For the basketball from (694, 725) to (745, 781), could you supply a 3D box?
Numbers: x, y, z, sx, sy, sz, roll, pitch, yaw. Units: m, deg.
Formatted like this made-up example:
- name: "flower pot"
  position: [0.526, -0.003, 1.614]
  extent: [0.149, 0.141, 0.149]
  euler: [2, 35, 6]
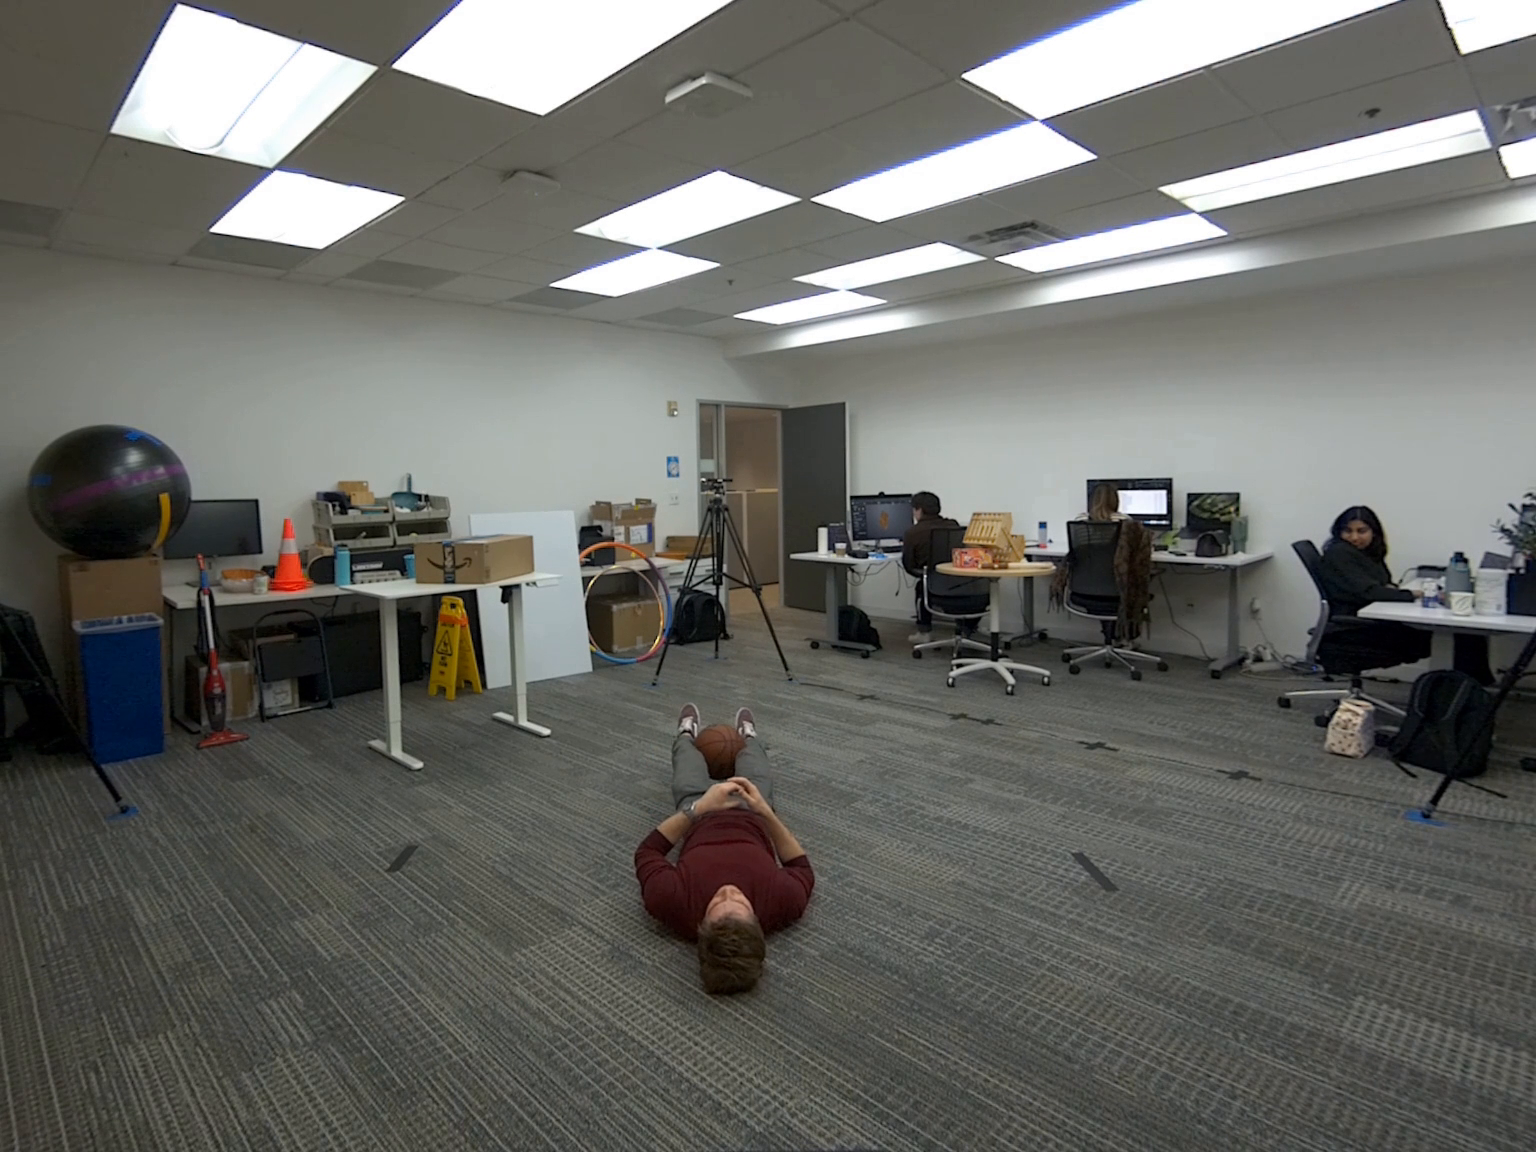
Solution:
- name: "basketball"
  position: [-0.215, 0.759, 3.716]
  extent: [0.236, 0.235, 0.237]
  euler: [-1, 5, -2]
